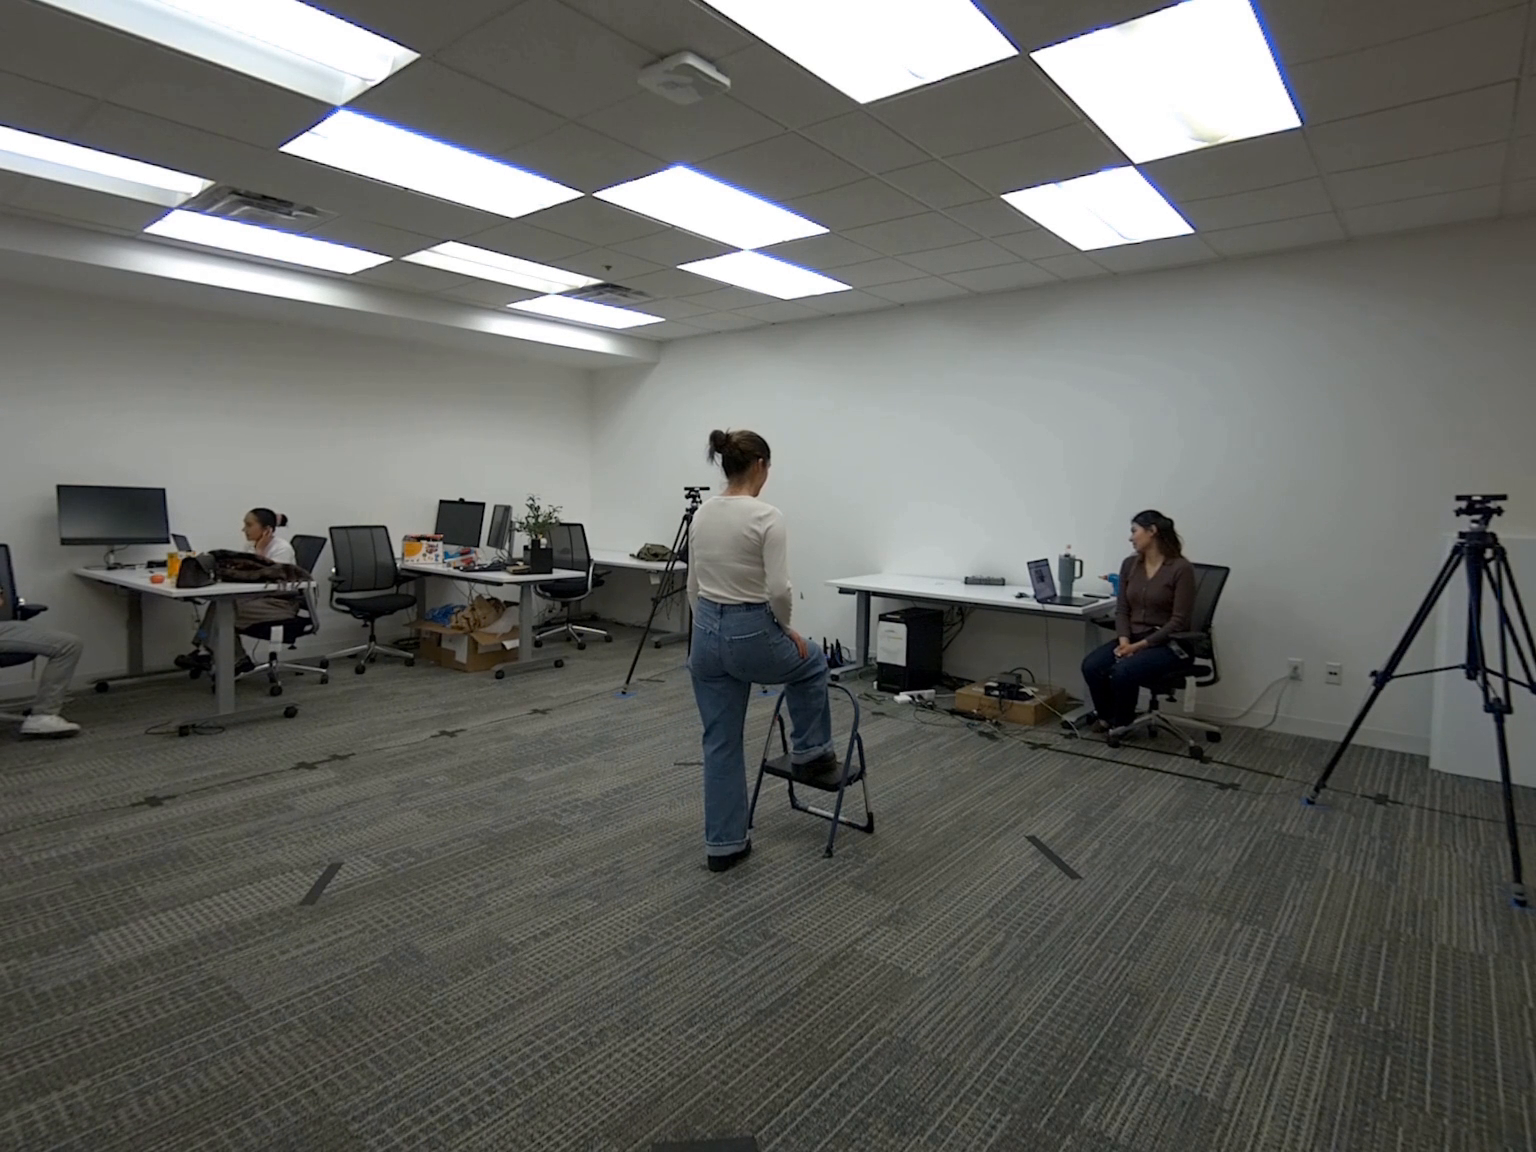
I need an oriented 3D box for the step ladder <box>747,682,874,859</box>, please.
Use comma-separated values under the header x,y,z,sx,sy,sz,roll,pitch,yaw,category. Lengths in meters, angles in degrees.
x,y,z,sx,sy,sz,roll,pitch,yaw,category
0.169,0.735,3.465,0.445,0.604,0.339,4,5,39,step ladder
